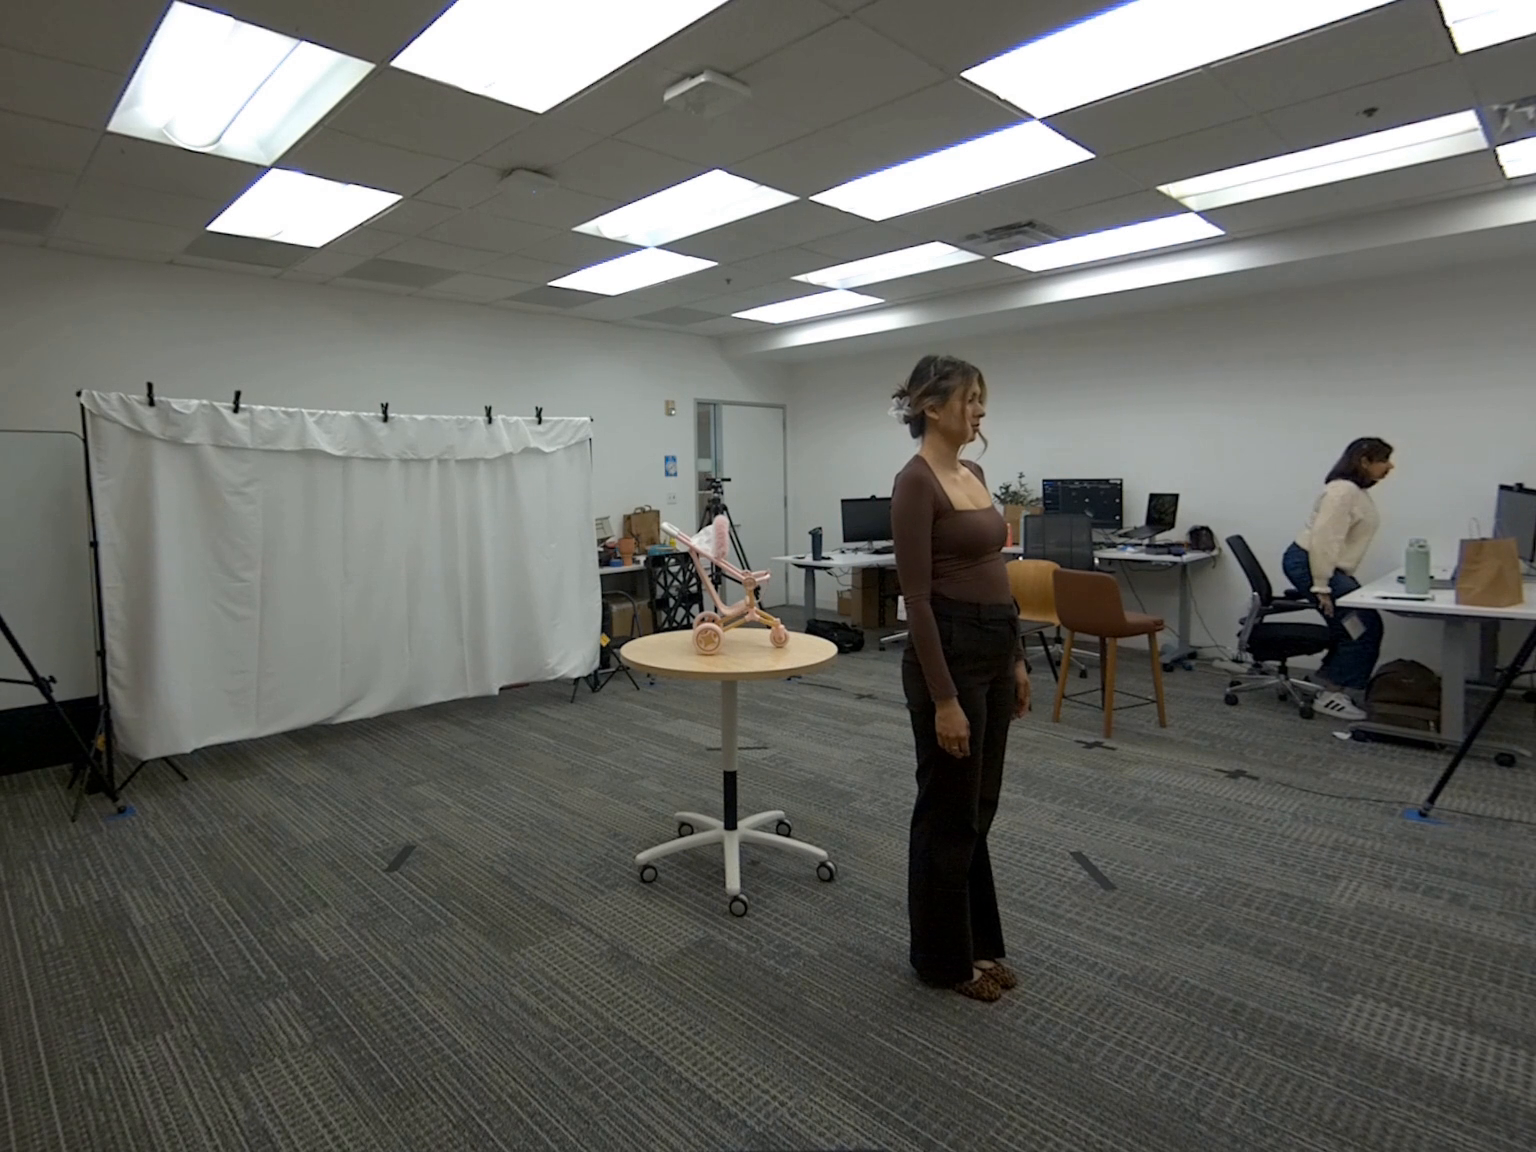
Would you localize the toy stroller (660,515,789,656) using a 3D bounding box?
[{"bbox_3d":[-0.140,0.030,3.009,0.342,0.533,0.282,-14,4,2],"label":"toy stroller"}]
